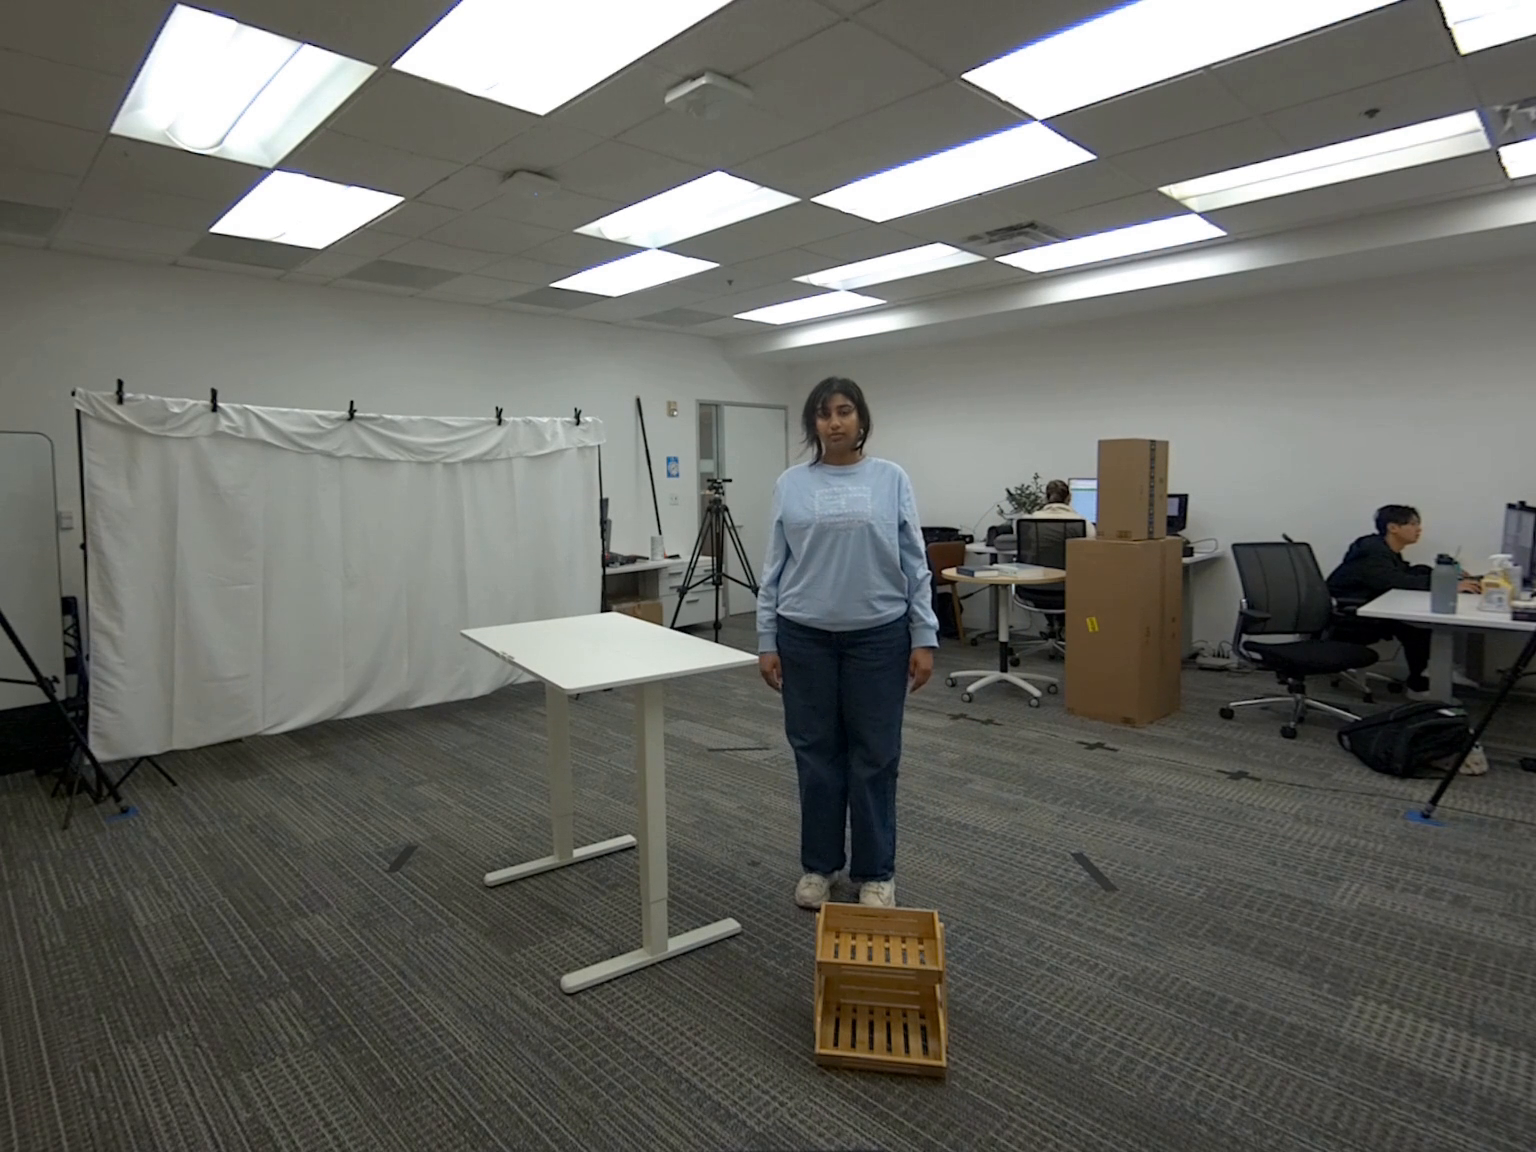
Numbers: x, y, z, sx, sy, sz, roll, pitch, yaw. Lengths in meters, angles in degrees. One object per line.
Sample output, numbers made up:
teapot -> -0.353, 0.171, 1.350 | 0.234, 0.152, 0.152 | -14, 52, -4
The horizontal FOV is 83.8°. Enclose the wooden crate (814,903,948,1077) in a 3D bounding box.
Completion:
wooden crate -> 0.284, 1.025, 2.122 | 0.327, 0.272, 0.300 | -1, 5, 9
